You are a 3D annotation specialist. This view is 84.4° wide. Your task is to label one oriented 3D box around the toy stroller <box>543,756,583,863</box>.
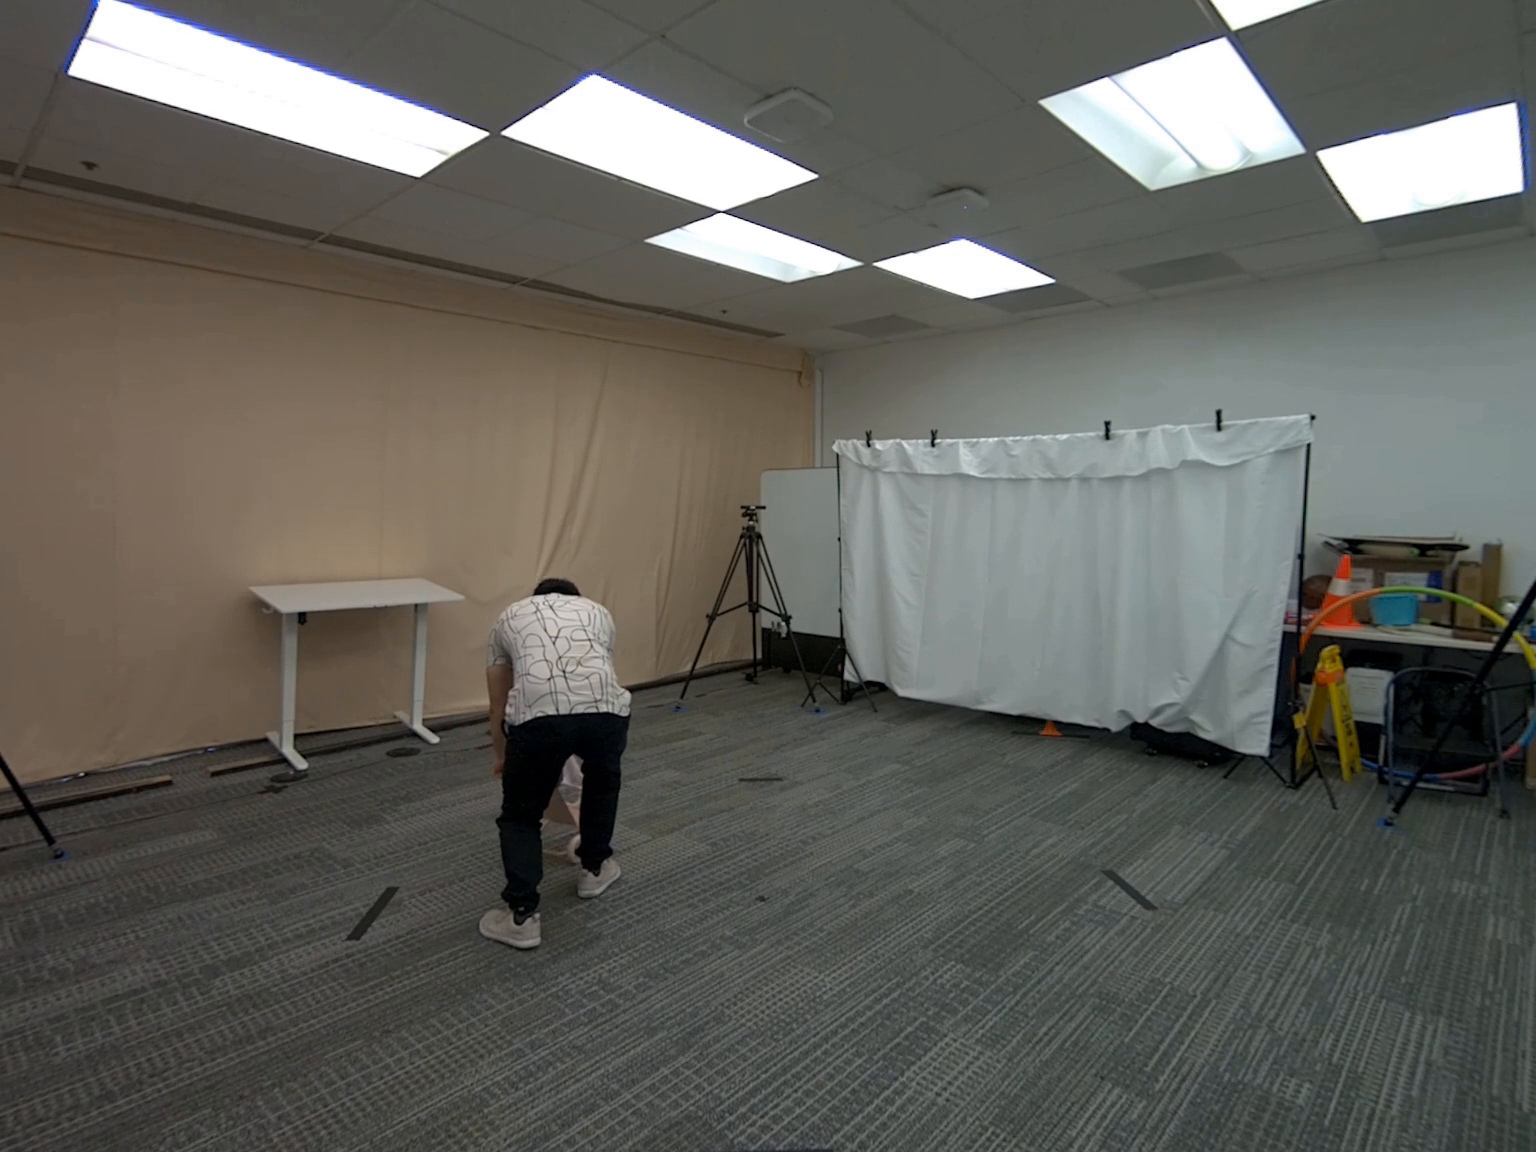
[{"bbox_3d":[-0.830,0.898,3.391,0.290,0.527,0.336,4,24,29],"label":"toy stroller"}]
